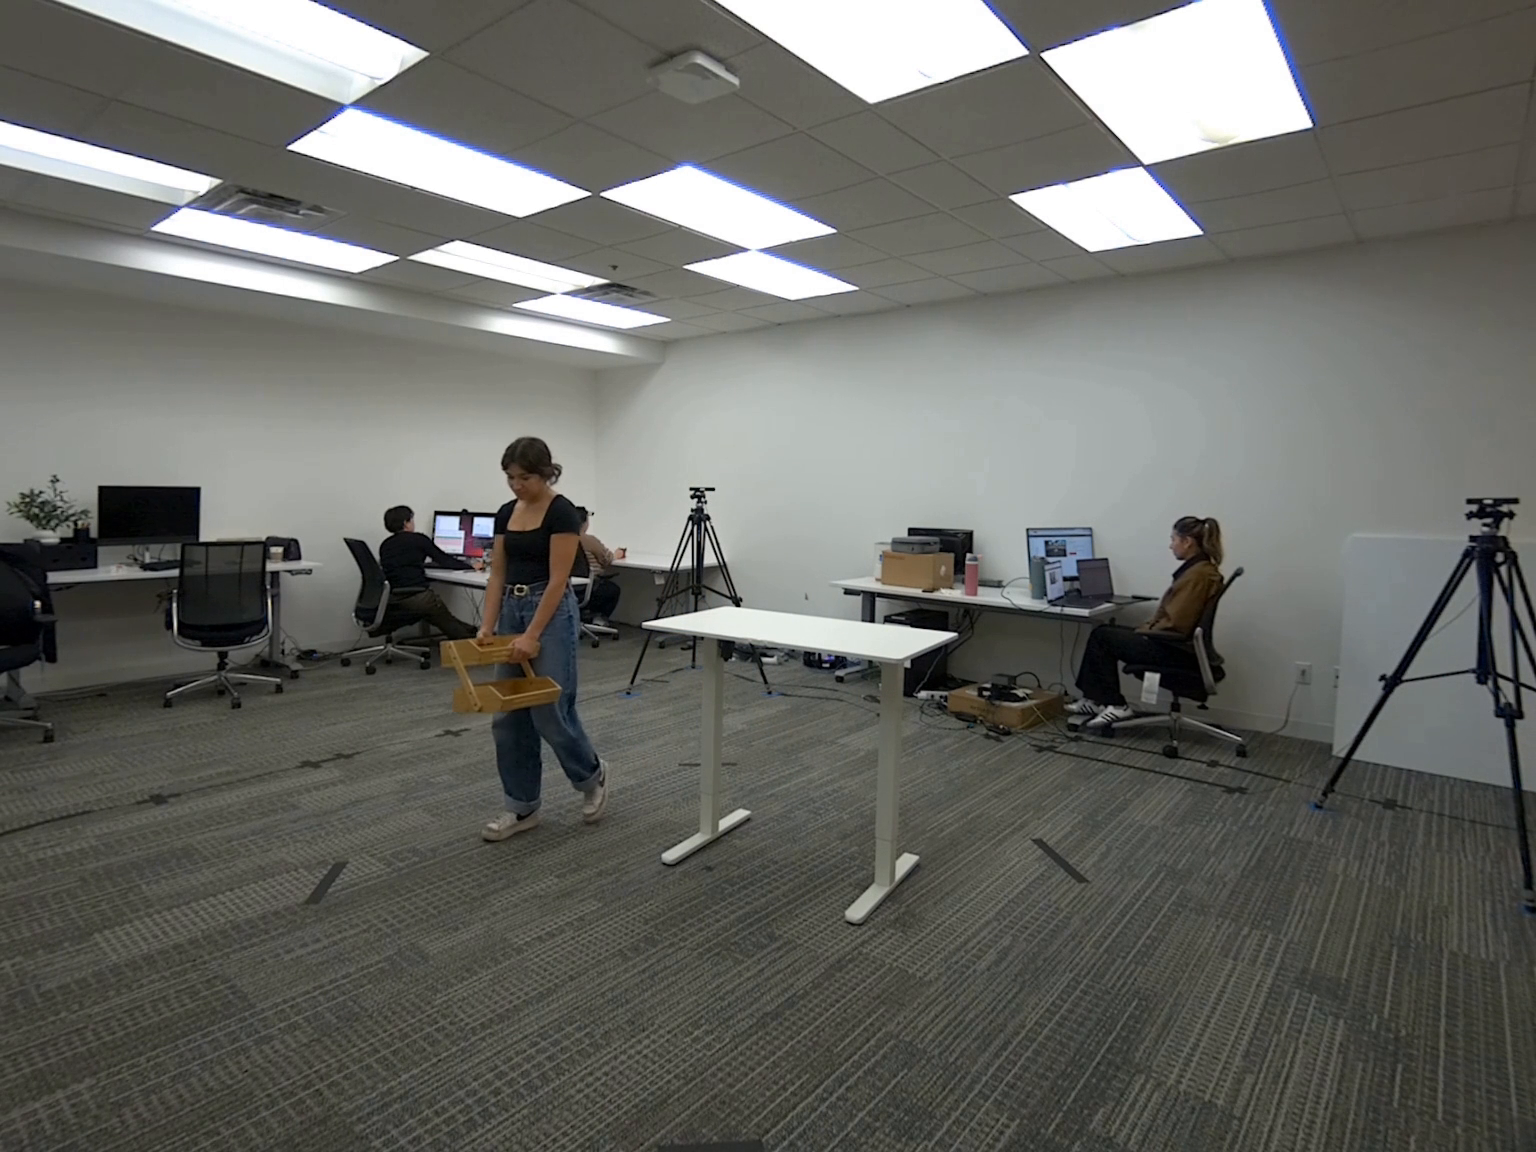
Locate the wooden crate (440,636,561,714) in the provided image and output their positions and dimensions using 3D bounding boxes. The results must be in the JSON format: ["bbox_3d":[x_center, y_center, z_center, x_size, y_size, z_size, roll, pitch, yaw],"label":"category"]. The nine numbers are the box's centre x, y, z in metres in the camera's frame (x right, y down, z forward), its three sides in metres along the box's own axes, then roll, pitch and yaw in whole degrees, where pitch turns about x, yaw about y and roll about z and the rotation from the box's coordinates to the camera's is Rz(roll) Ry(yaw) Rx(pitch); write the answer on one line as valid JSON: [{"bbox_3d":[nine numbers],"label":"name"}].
[{"bbox_3d":[-1.001,0.347,3.157,0.309,0.275,0.315,-9,-5,30],"label":"wooden crate"}]
